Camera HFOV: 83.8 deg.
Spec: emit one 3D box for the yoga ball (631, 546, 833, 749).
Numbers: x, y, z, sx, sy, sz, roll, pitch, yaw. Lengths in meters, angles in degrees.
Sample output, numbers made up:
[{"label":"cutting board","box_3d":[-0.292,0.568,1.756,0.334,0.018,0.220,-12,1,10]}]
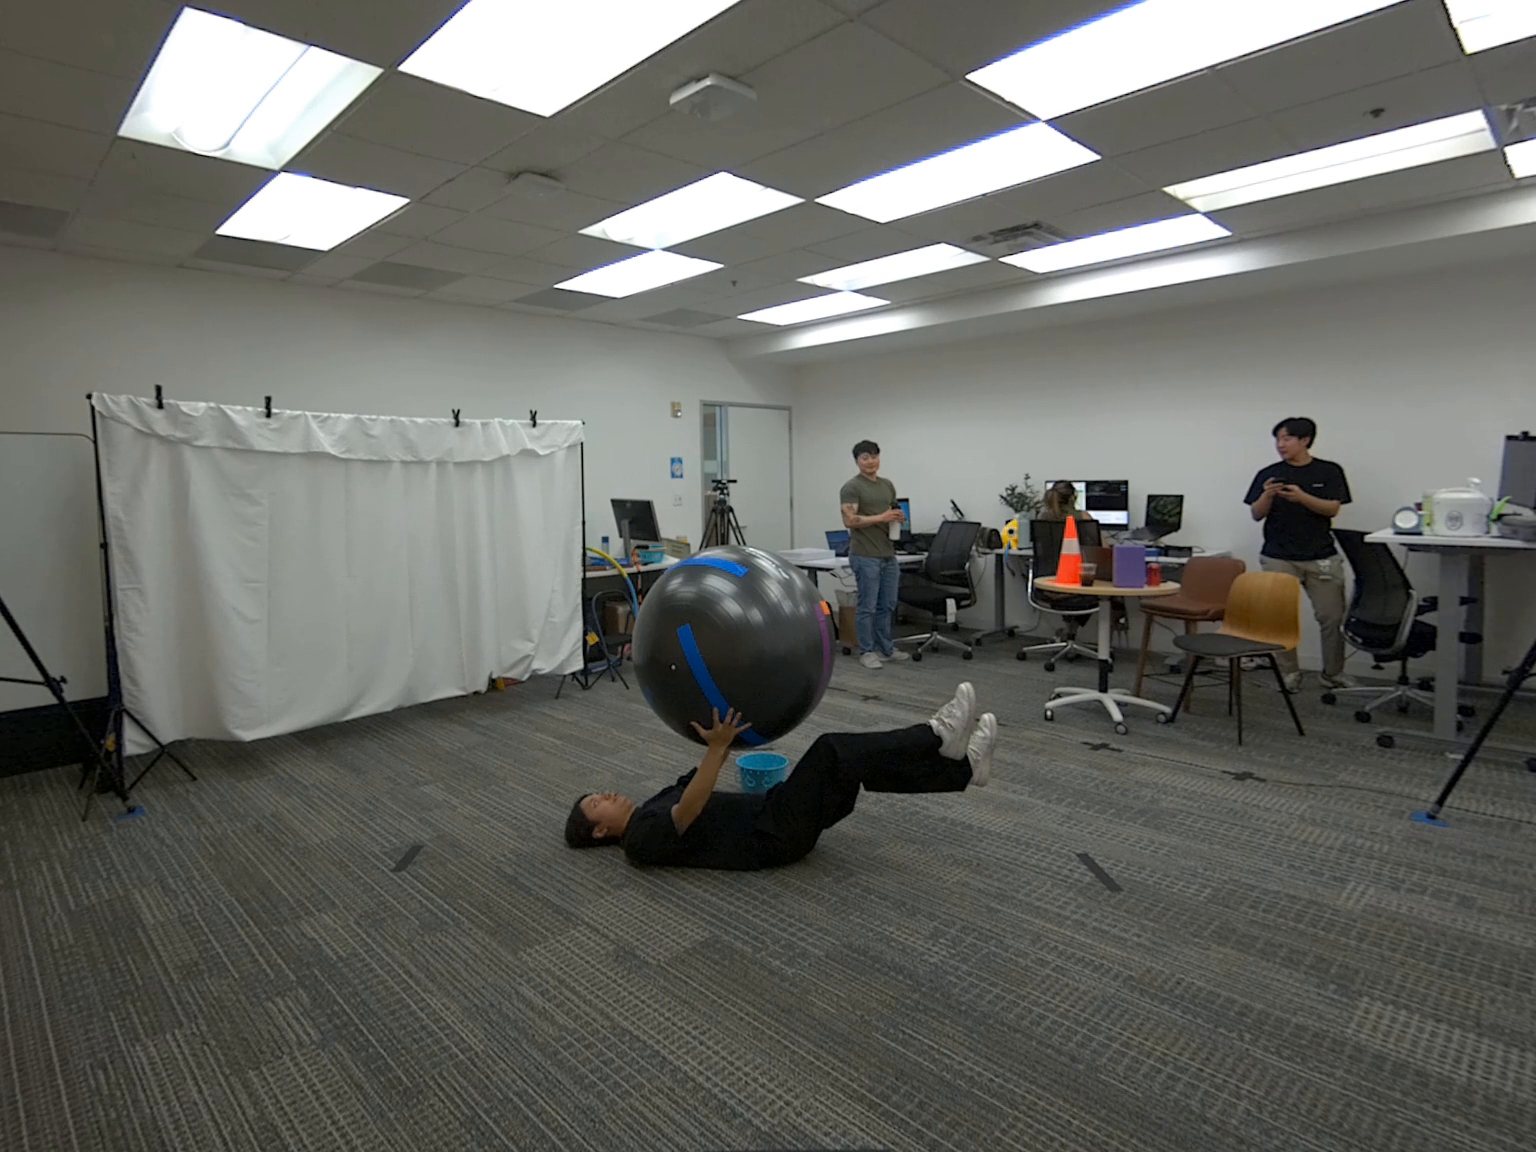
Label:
[{"label":"yoga ball","box_3d":[-0.135,0.269,3.204,0.757,0.755,0.762,-1,5,-2]}]
